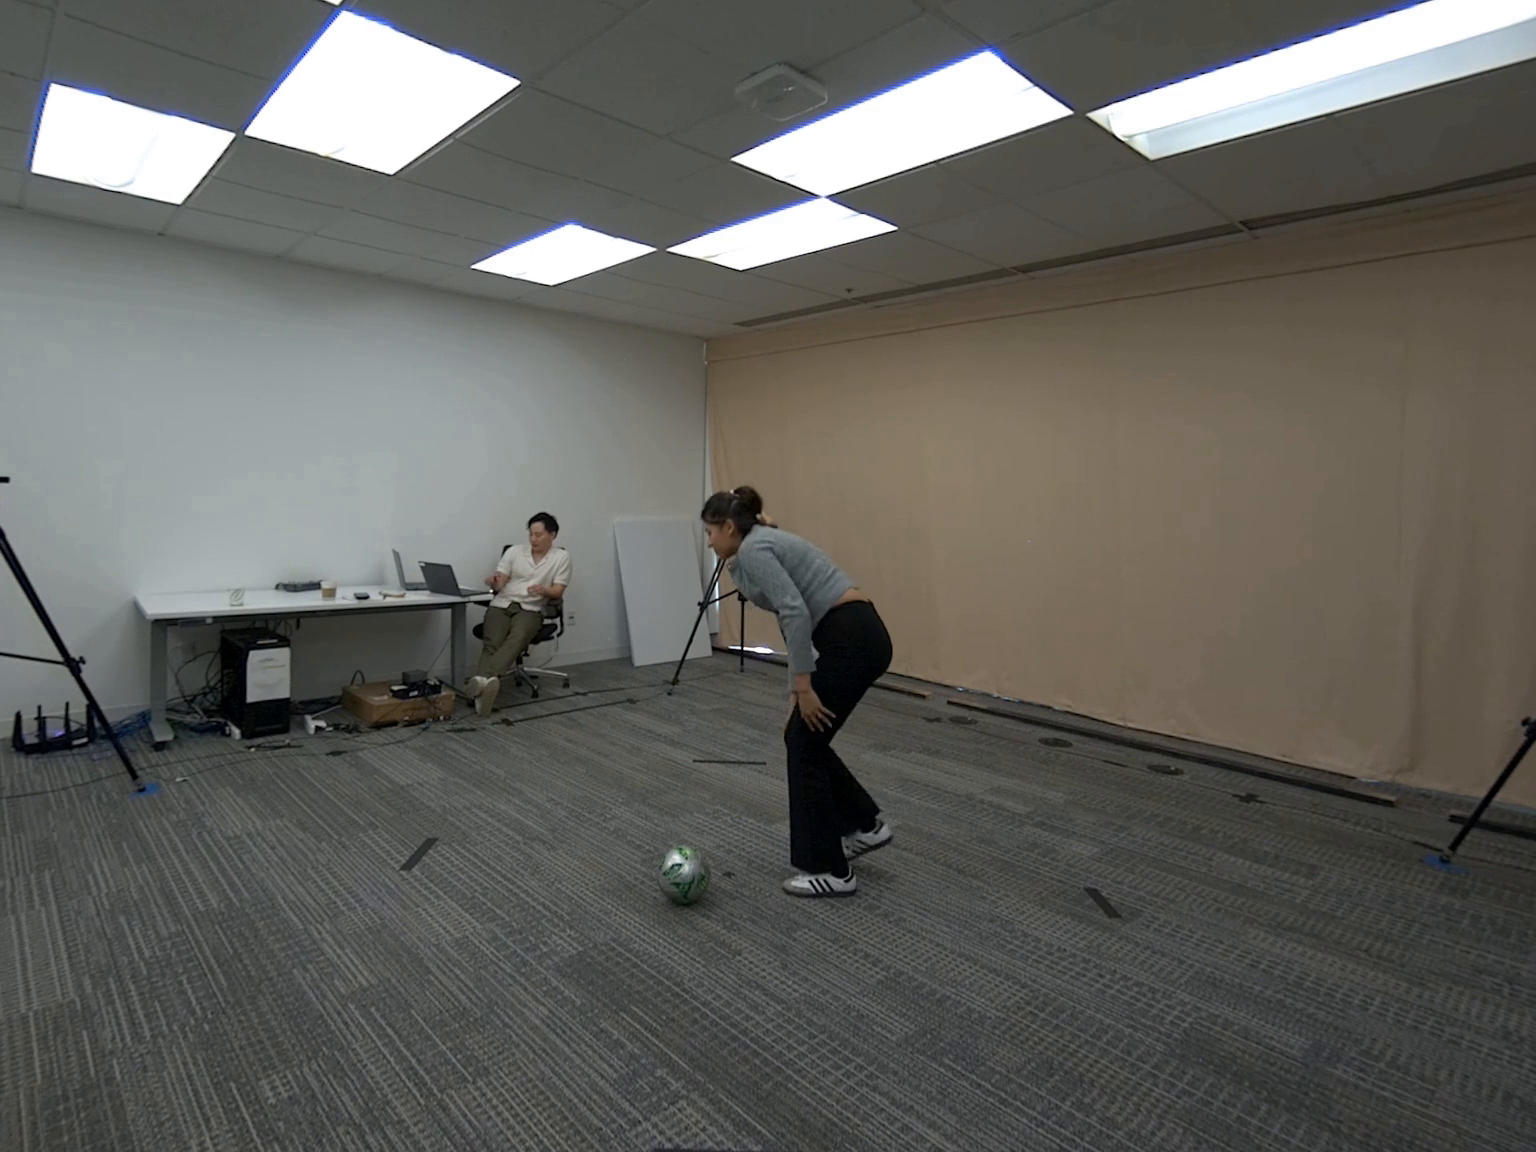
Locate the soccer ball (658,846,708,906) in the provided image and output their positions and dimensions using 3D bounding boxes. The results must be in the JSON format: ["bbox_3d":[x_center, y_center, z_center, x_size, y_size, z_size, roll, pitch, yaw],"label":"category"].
[{"bbox_3d":[-0.298,1.024,2.886,0.187,0.187,0.188,1,4,-1],"label":"soccer ball"}]
